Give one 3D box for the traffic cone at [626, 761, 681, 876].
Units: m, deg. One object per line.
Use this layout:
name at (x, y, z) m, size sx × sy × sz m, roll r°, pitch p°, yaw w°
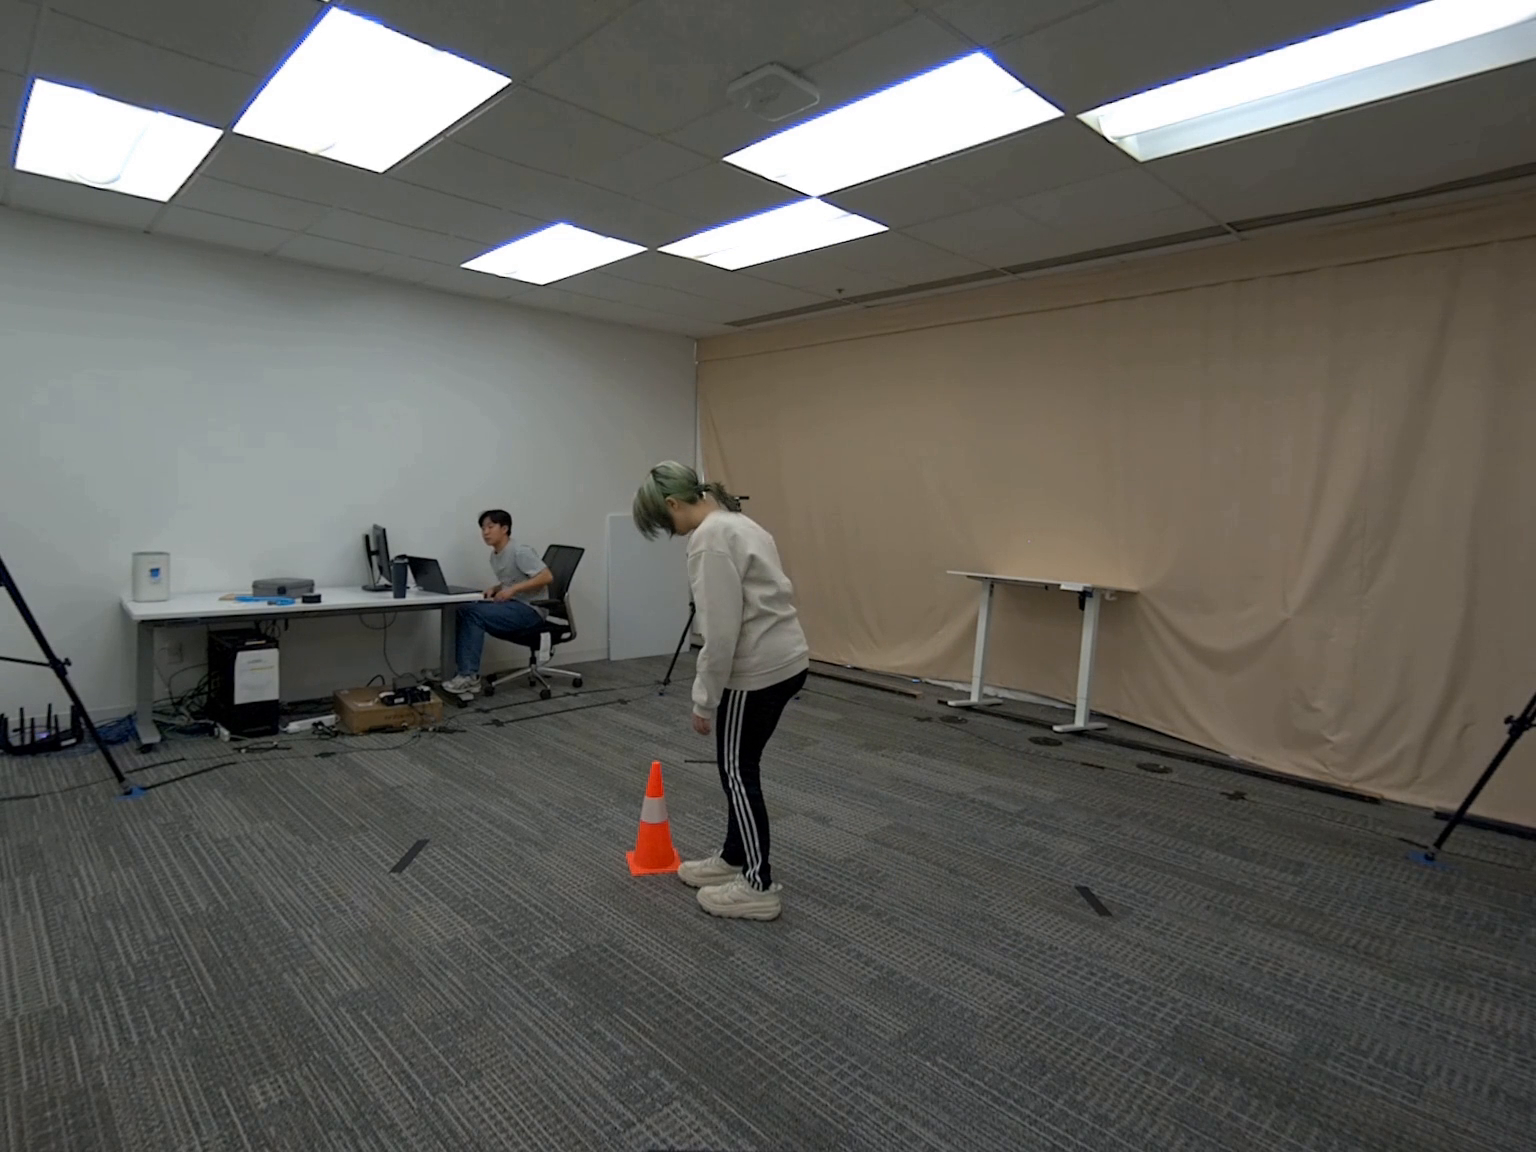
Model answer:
traffic cone at (-0.443, 0.902, 3.201) m, size 0.203 × 0.383 × 0.206 m, roll 1°, pitch 2°, yaw -13°
